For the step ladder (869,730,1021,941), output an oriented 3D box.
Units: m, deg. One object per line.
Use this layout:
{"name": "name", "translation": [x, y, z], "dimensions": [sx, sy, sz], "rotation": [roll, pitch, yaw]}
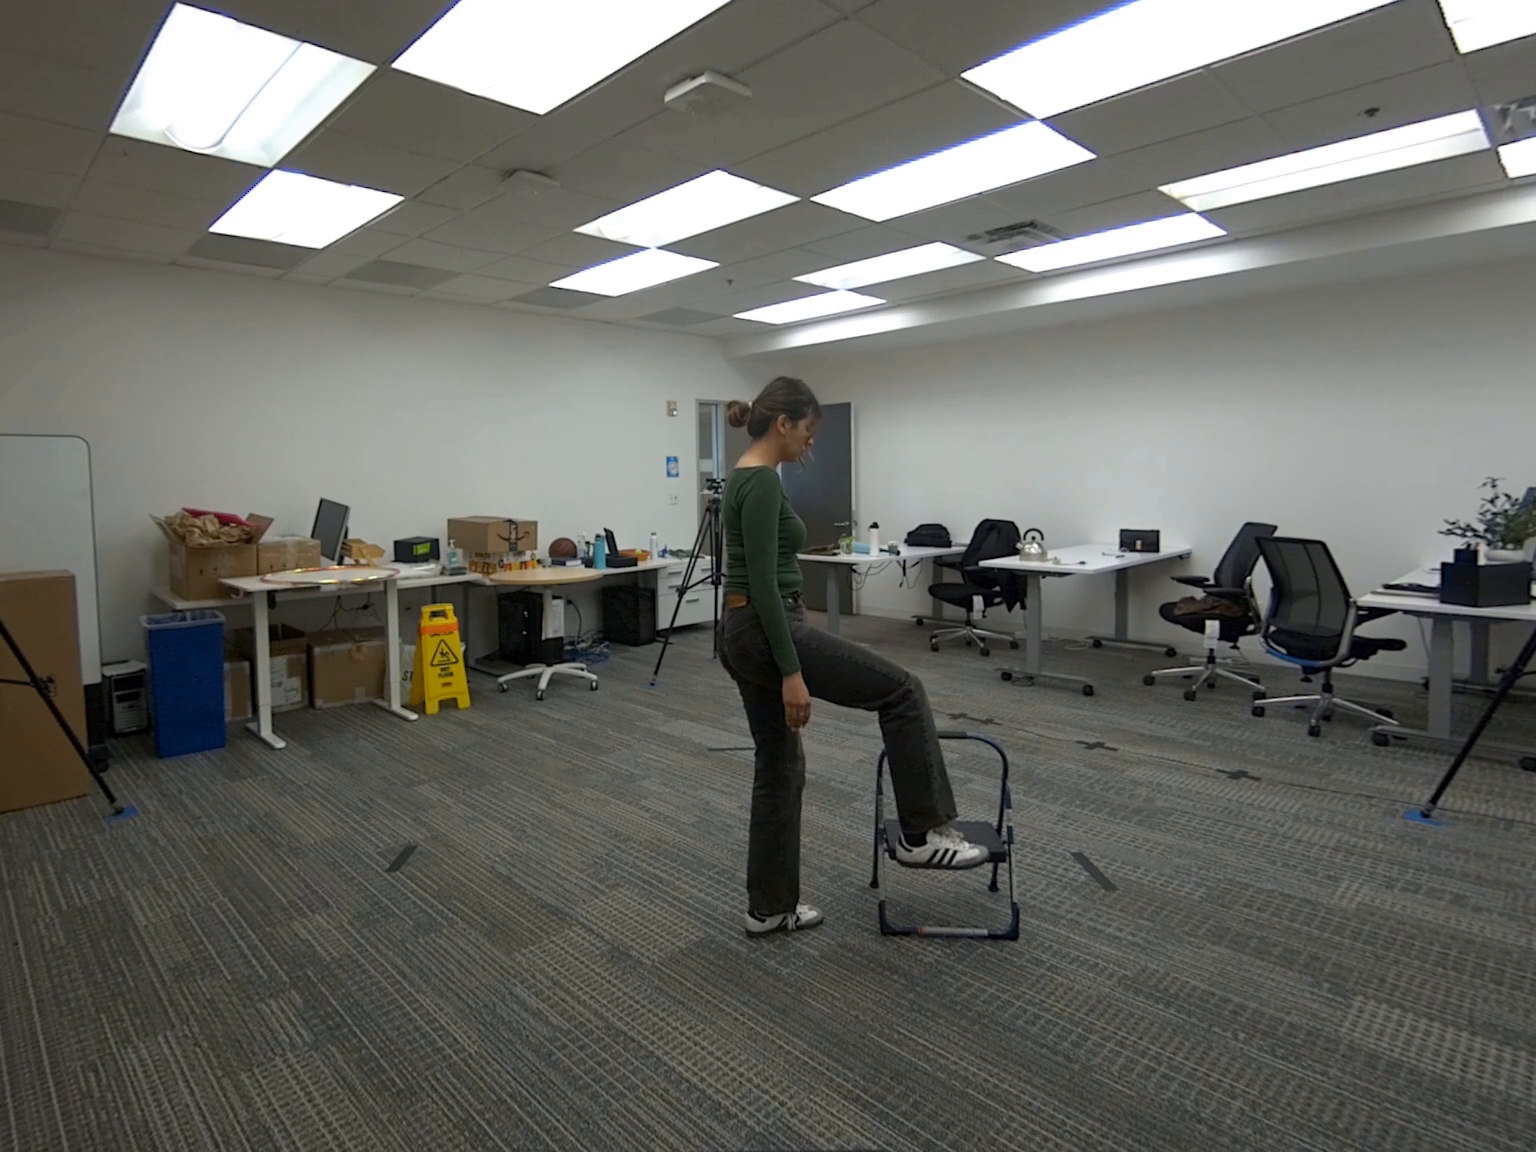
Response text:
{"name": "step ladder", "translation": [0.555, 0.777, 2.730], "dimensions": [0.433, 0.604, 0.349], "rotation": [-1, 4, 4]}
